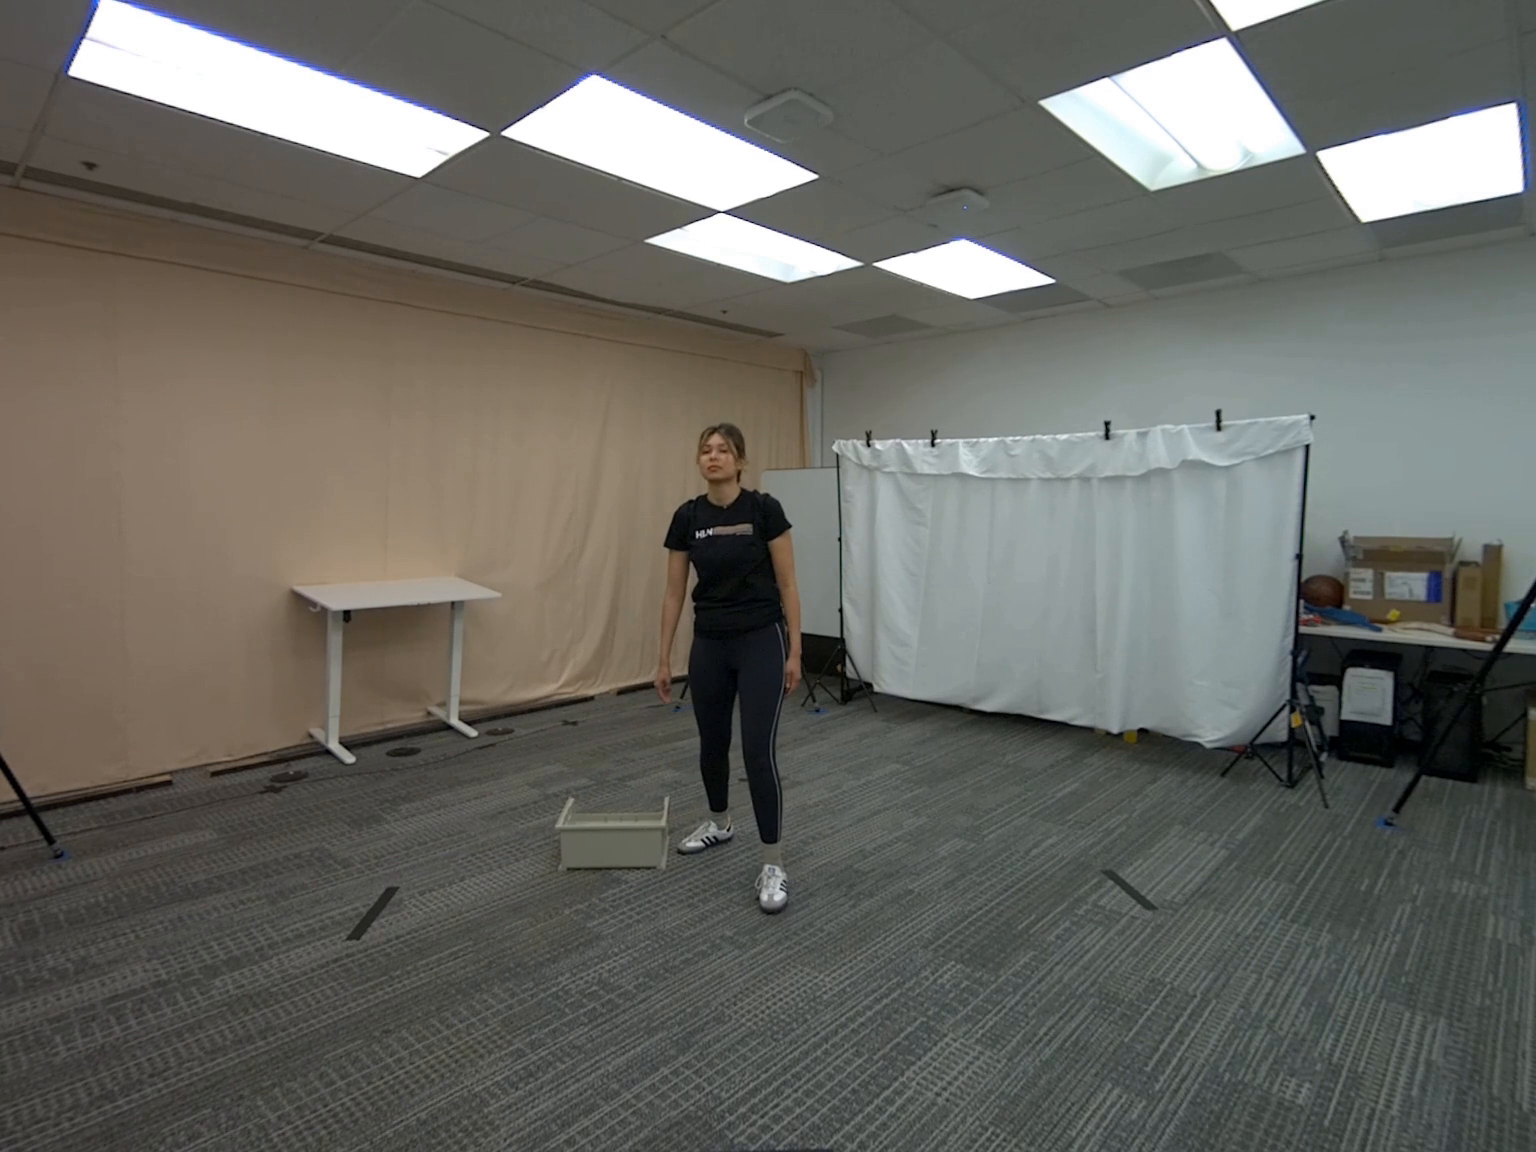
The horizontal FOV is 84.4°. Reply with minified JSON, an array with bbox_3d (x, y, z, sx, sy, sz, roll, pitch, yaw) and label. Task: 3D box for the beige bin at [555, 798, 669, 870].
[{"bbox_3d":[-0.616,1.023,3.399,0.422,0.188,0.379,0,5,-2],"label":"beige bin"}]
